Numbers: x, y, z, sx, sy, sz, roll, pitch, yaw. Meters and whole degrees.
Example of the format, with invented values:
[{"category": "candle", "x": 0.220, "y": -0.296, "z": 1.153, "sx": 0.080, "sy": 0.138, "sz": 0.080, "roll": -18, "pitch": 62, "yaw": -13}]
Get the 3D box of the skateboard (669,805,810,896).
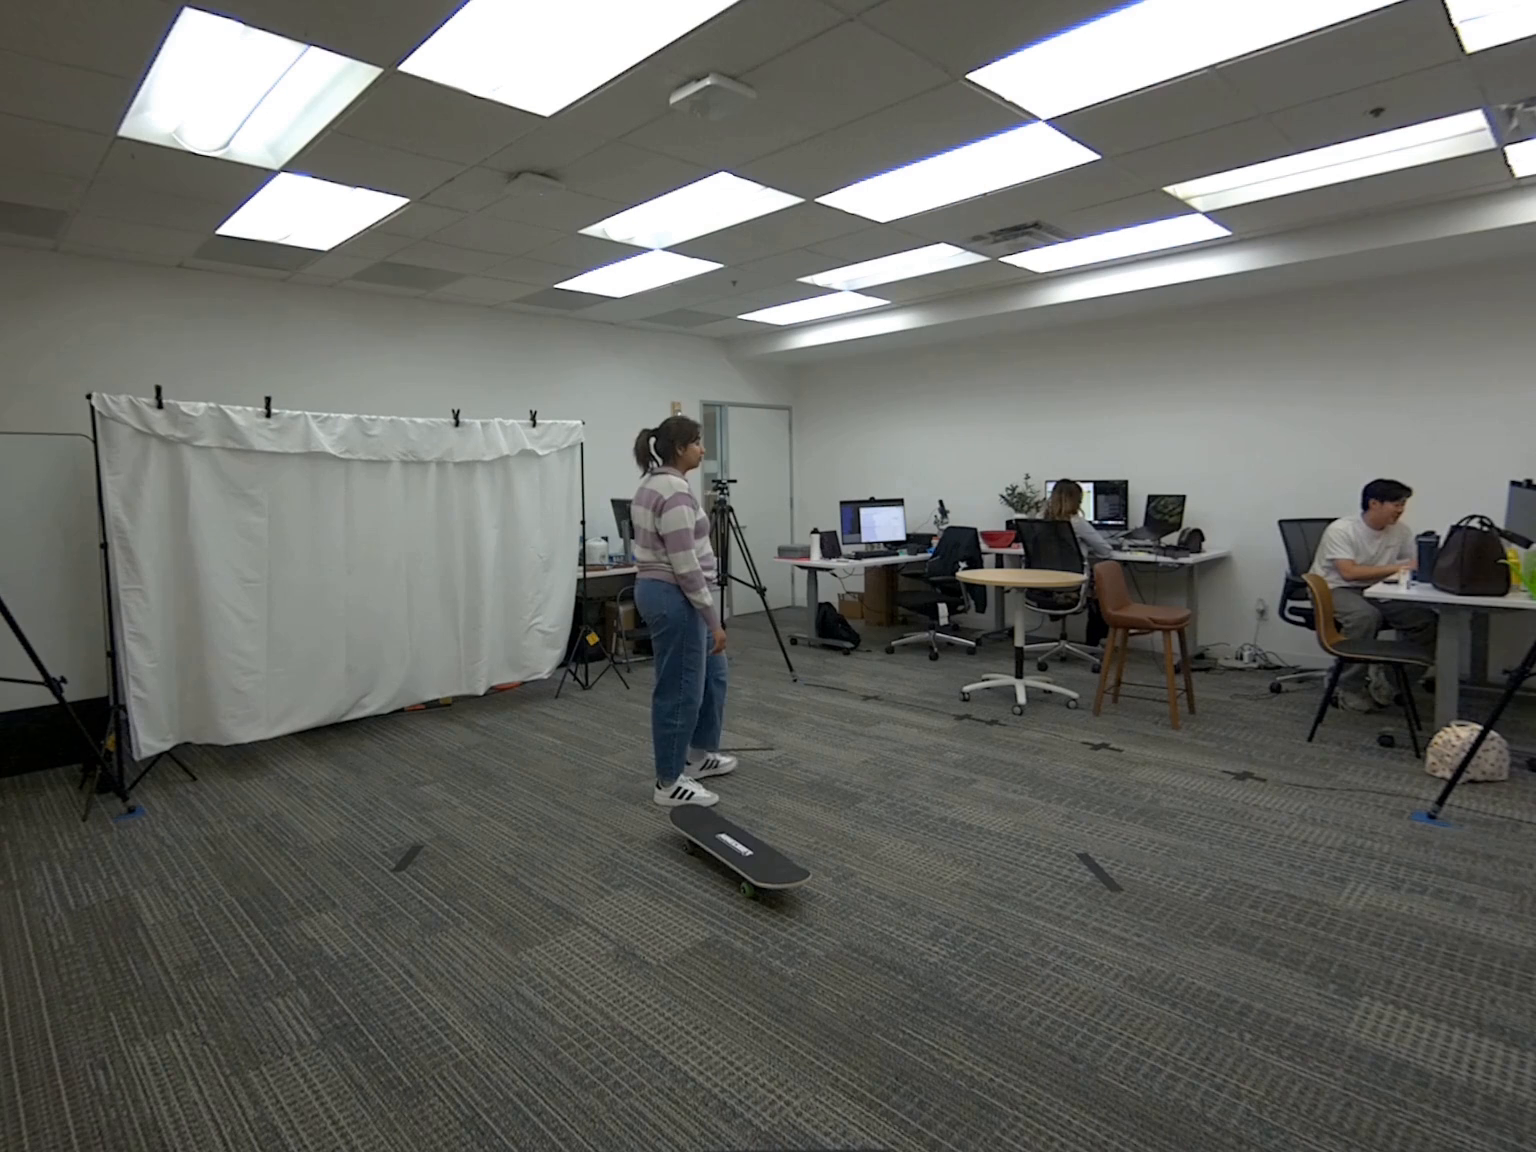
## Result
[{"category": "skateboard", "x": -0.121, "y": 0.998, "z": 3.066, "sx": 0.189, "sy": 0.110, "sz": 0.808, "roll": -6, "pitch": 8, "yaw": -33}]
